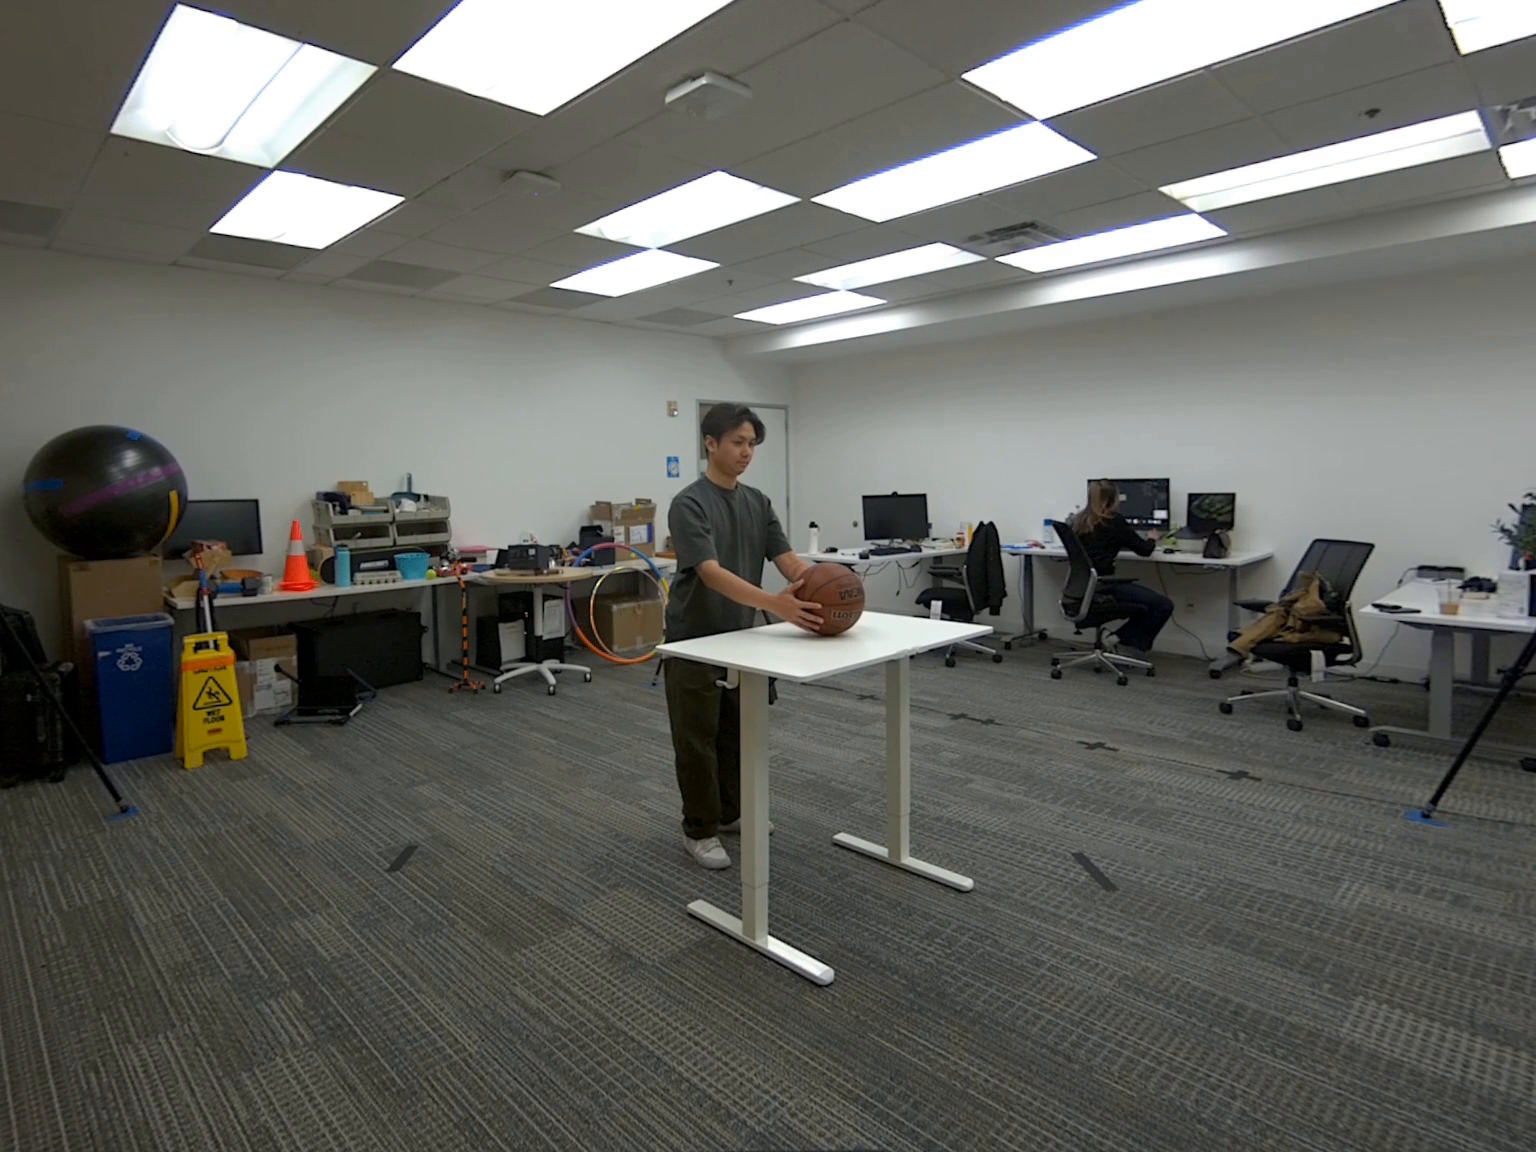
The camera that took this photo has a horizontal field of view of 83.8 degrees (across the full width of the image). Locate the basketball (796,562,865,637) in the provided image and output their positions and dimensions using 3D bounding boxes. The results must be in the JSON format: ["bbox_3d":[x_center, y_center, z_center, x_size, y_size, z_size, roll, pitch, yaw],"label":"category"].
[{"bbox_3d":[0.197,0.075,2.800,0.236,0.235,0.237,-1,5,-2],"label":"basketball"}]
